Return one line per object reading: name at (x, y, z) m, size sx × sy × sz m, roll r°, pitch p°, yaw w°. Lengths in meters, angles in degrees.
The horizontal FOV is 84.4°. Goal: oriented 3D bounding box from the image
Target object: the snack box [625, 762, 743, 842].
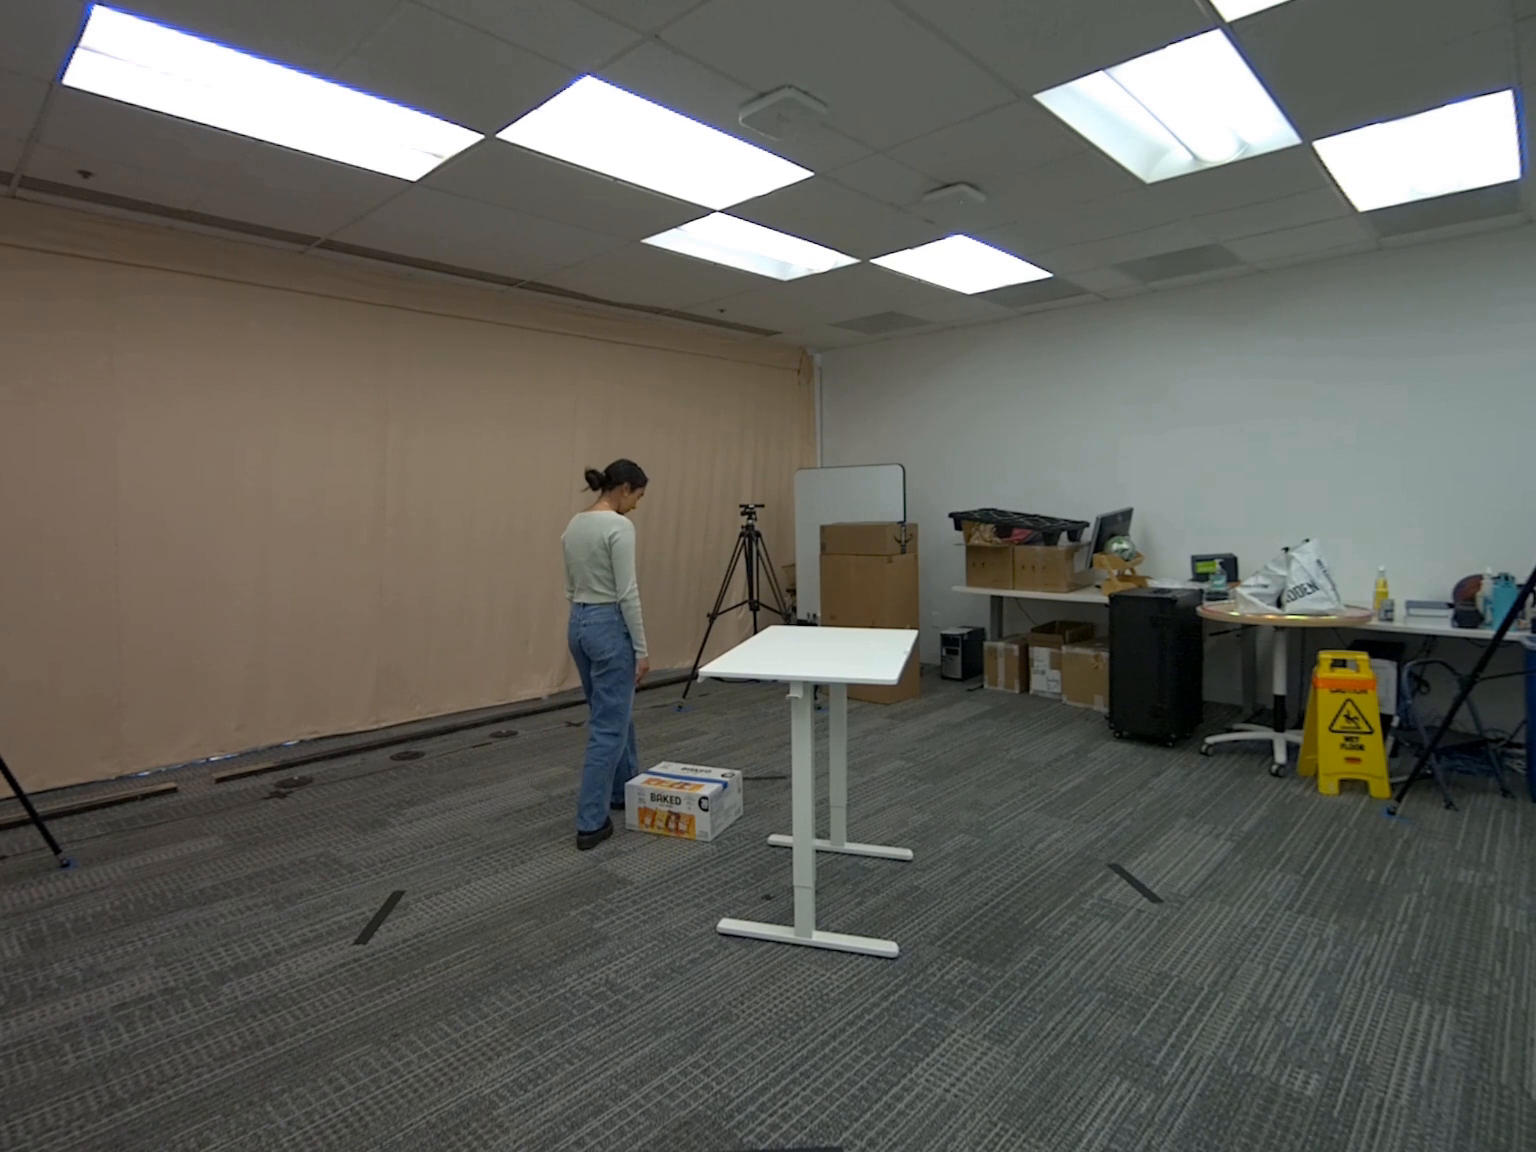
snack box at (-0.365, 0.985, 3.706) m, size 0.415 × 0.205 × 0.333 m, roll 0°, pitch 5°, yaw 24°
